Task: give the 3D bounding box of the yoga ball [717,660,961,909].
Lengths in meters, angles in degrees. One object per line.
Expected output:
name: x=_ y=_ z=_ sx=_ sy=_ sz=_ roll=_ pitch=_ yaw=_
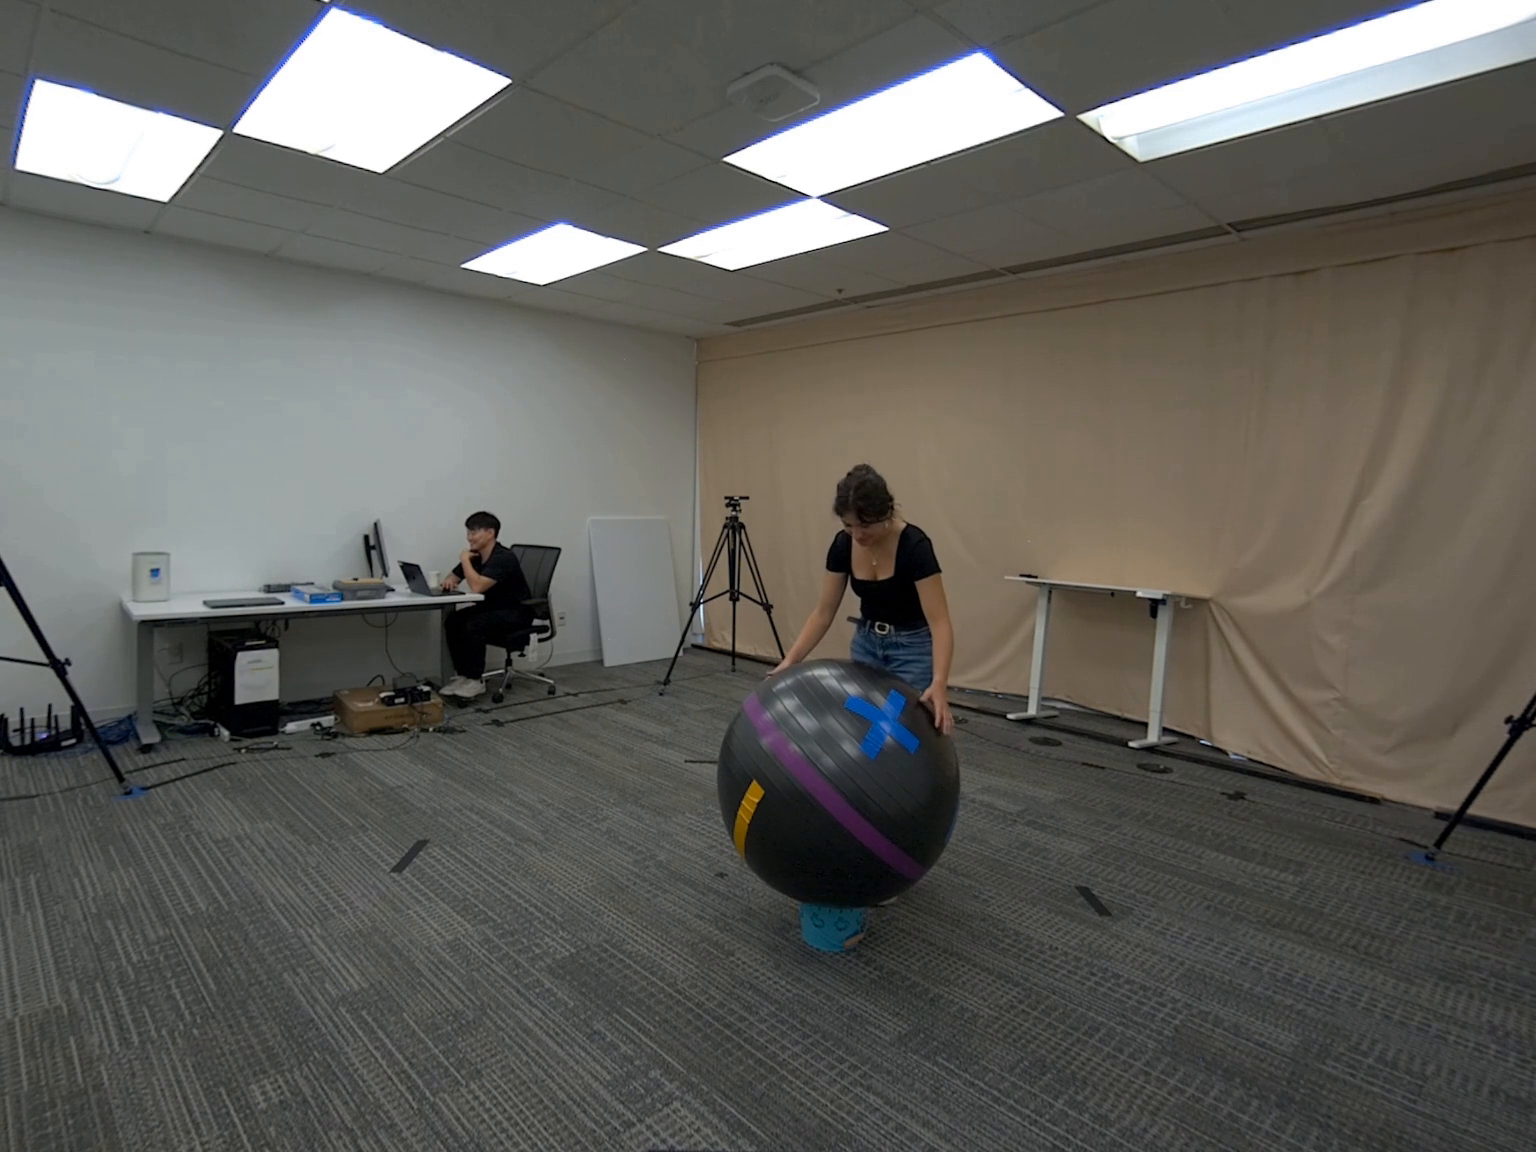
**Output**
yoga ball: x=0.214 y=0.651 z=2.653 sx=0.757 sy=0.756 sz=0.761 roll=1 pitch=4 yaw=-1
